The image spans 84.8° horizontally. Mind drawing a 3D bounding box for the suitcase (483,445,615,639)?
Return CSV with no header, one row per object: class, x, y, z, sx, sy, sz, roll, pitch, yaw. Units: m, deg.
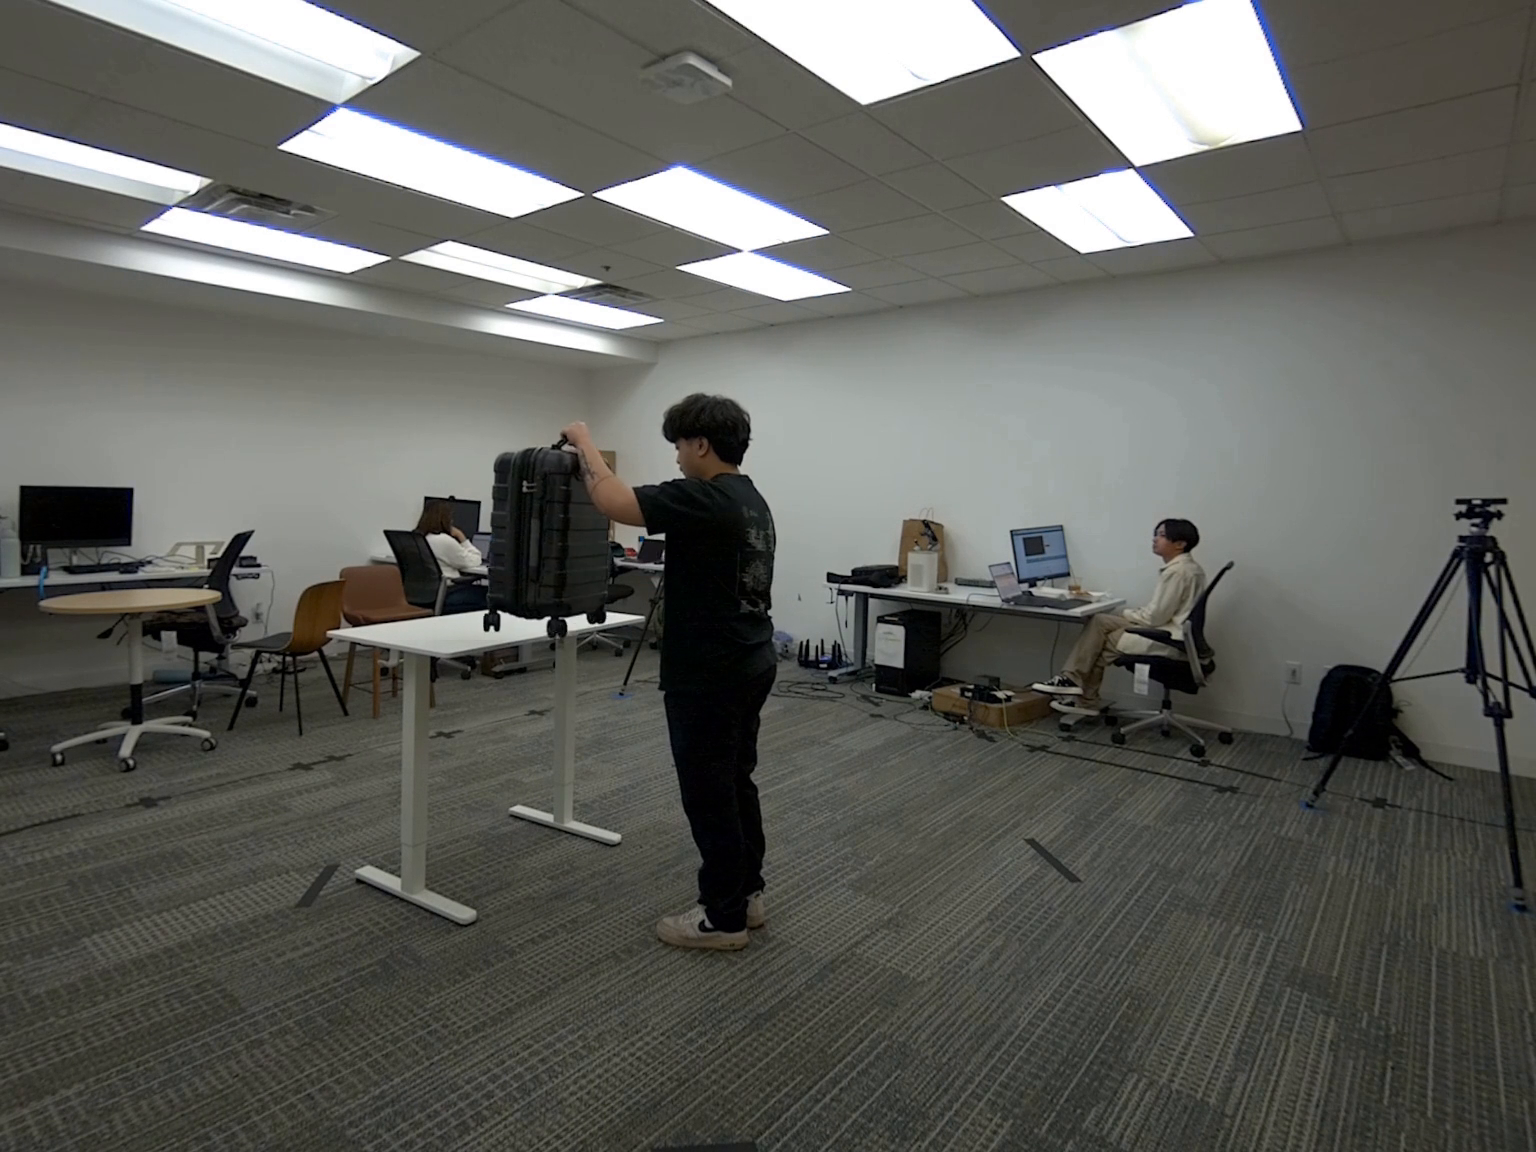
suitcase,-0.672,-0.111,2.601,0.253,0.548,0.369,3,3,16
